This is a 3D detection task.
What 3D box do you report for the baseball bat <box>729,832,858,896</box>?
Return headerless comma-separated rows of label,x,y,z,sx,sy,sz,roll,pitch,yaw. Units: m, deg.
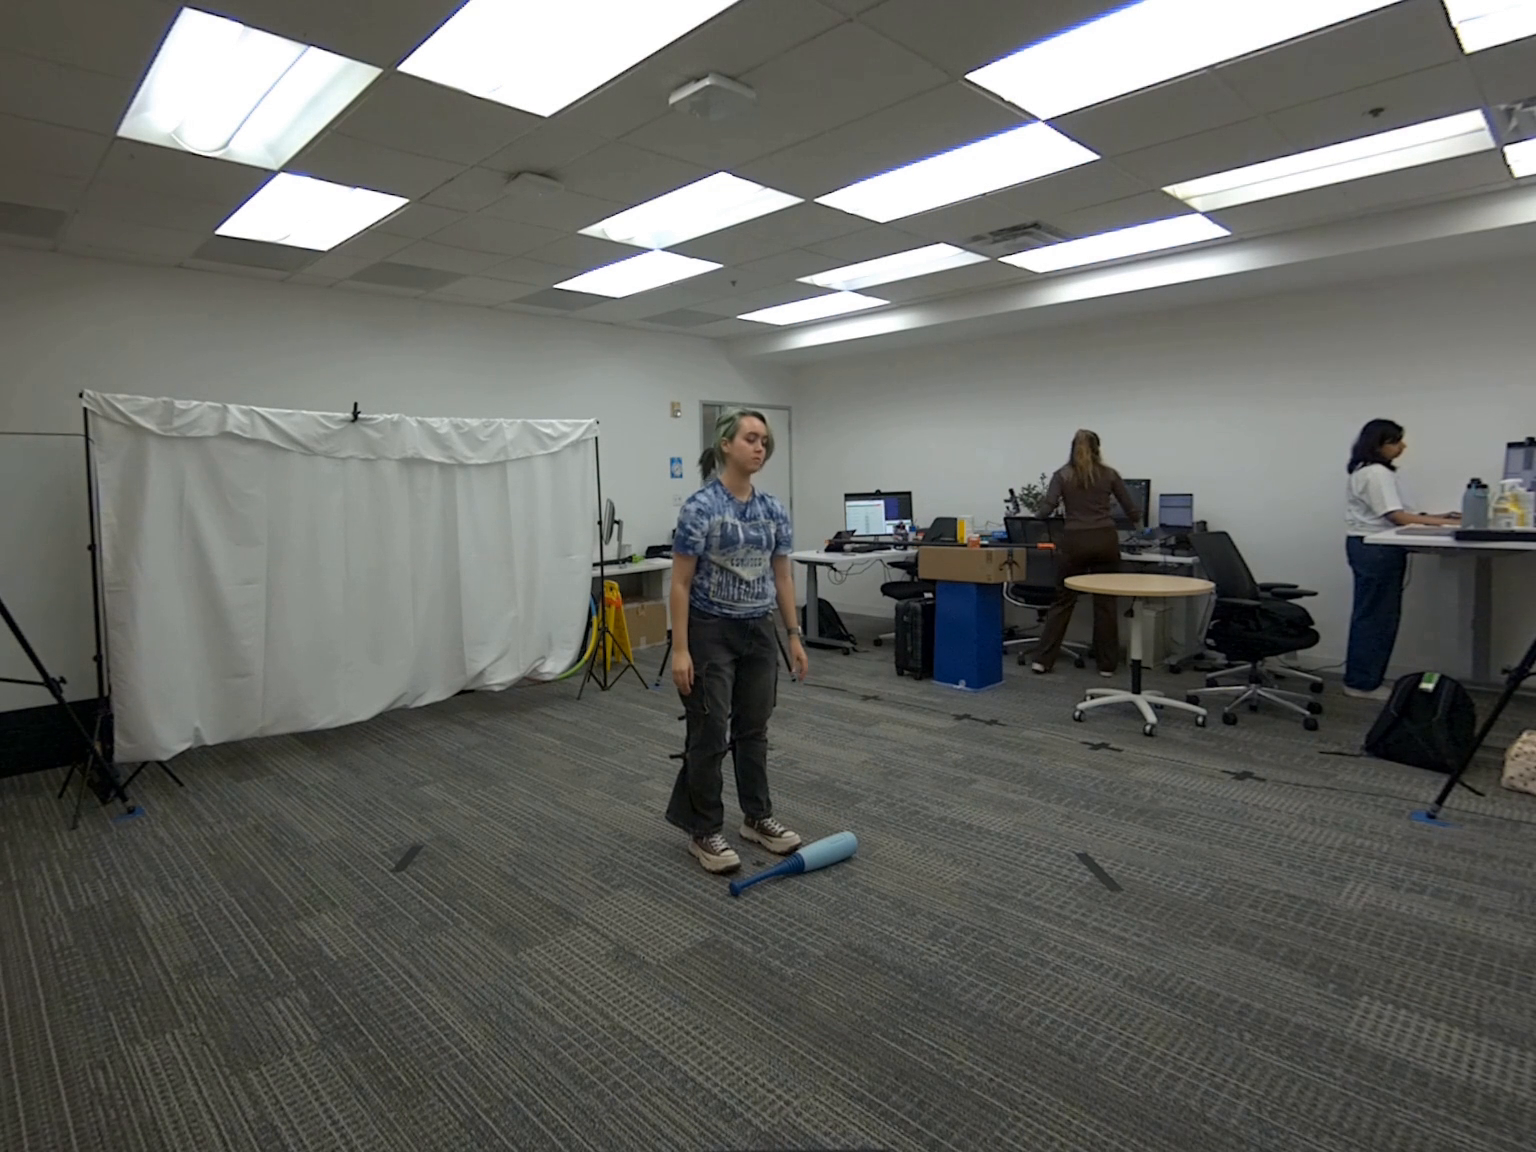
baseball bat,0.091,1.013,3.015,0.530,0.088,0.091,-7,7,-31
